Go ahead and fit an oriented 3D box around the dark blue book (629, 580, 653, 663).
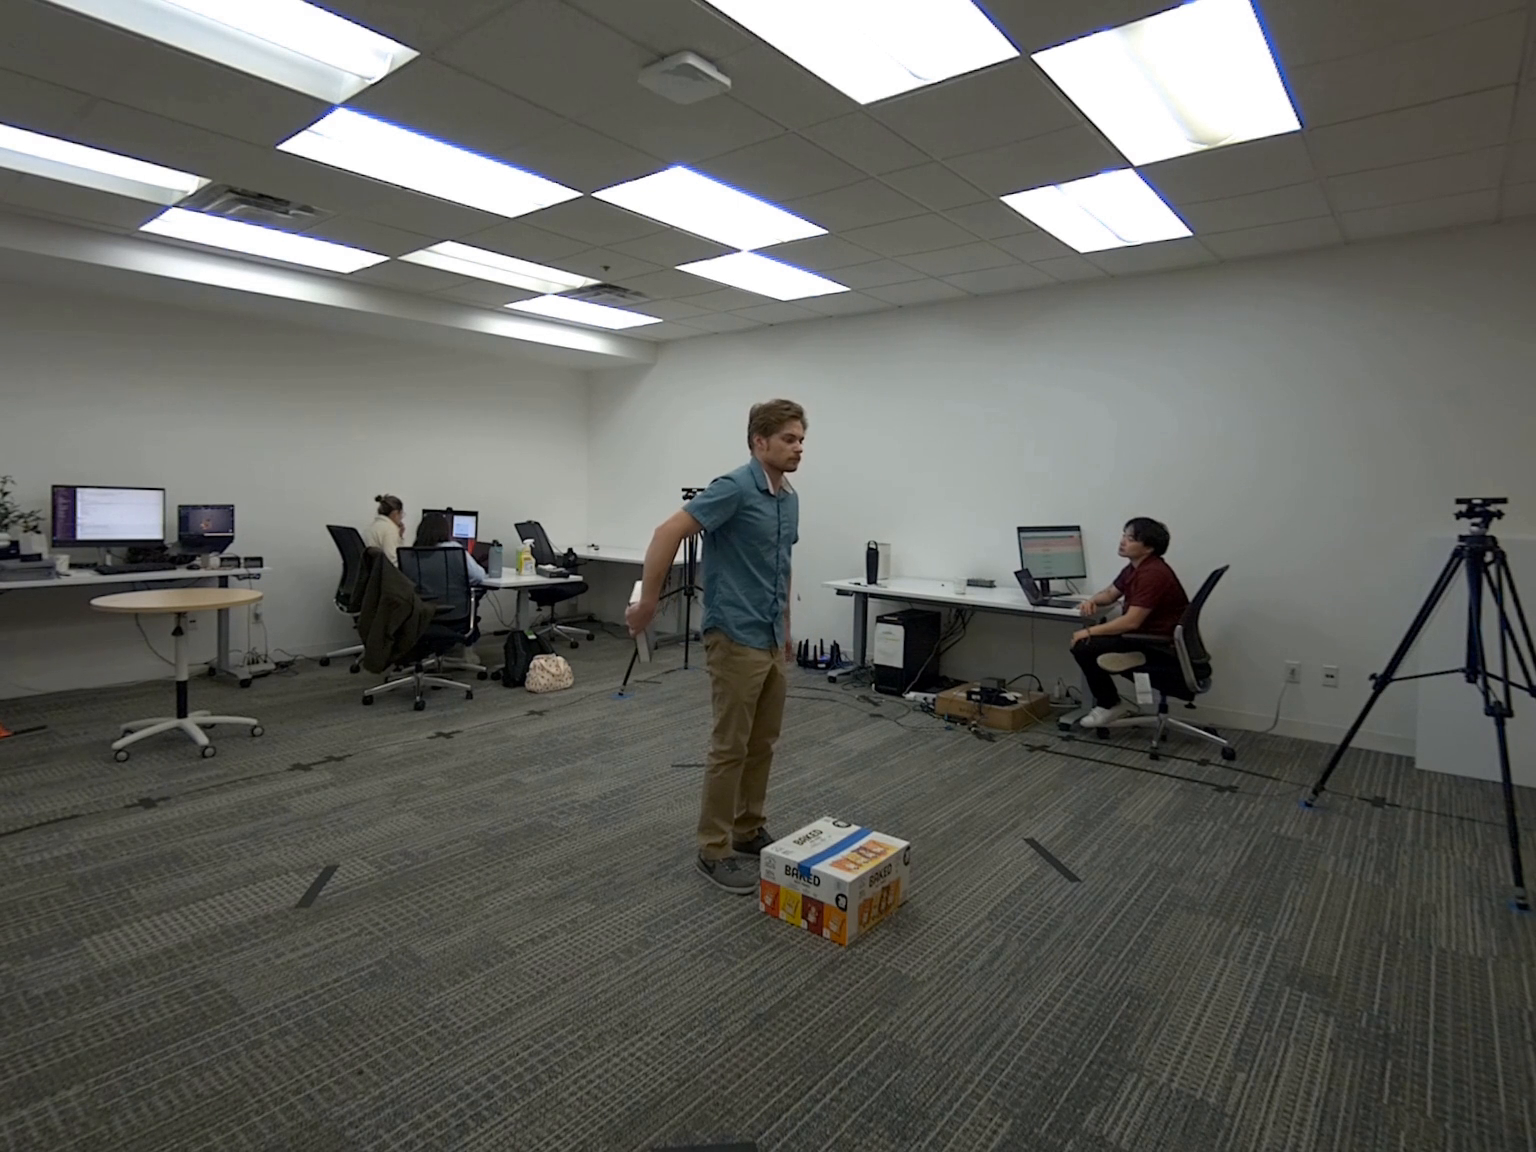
[{"bbox_3d":[-0.441,0.156,3.002,0.045,0.239,0.166,-4,23,4],"label":"dark blue book"}]
